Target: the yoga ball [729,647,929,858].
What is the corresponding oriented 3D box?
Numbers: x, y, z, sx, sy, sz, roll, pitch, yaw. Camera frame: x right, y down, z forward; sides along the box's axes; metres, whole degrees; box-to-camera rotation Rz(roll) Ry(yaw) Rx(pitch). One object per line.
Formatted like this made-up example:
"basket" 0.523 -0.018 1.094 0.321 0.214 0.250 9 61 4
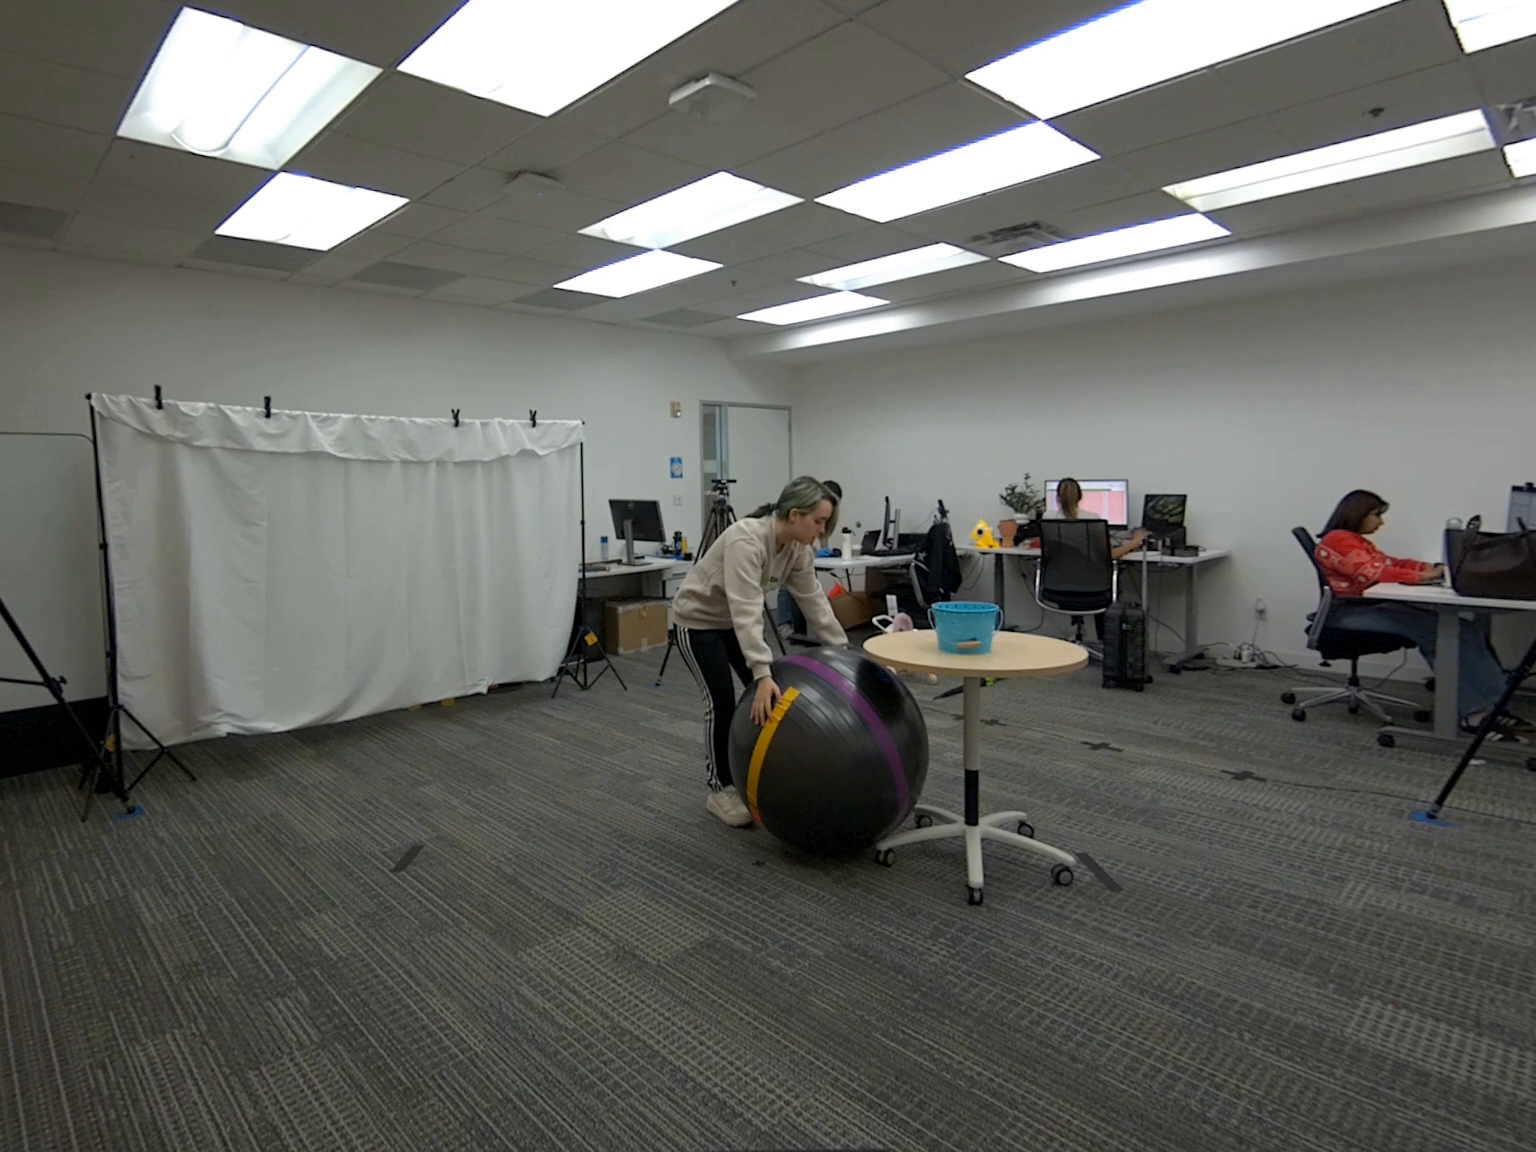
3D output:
"yoga ball" 0.222 0.658 3.247 0.757 0.755 0.762 -1 5 -2
